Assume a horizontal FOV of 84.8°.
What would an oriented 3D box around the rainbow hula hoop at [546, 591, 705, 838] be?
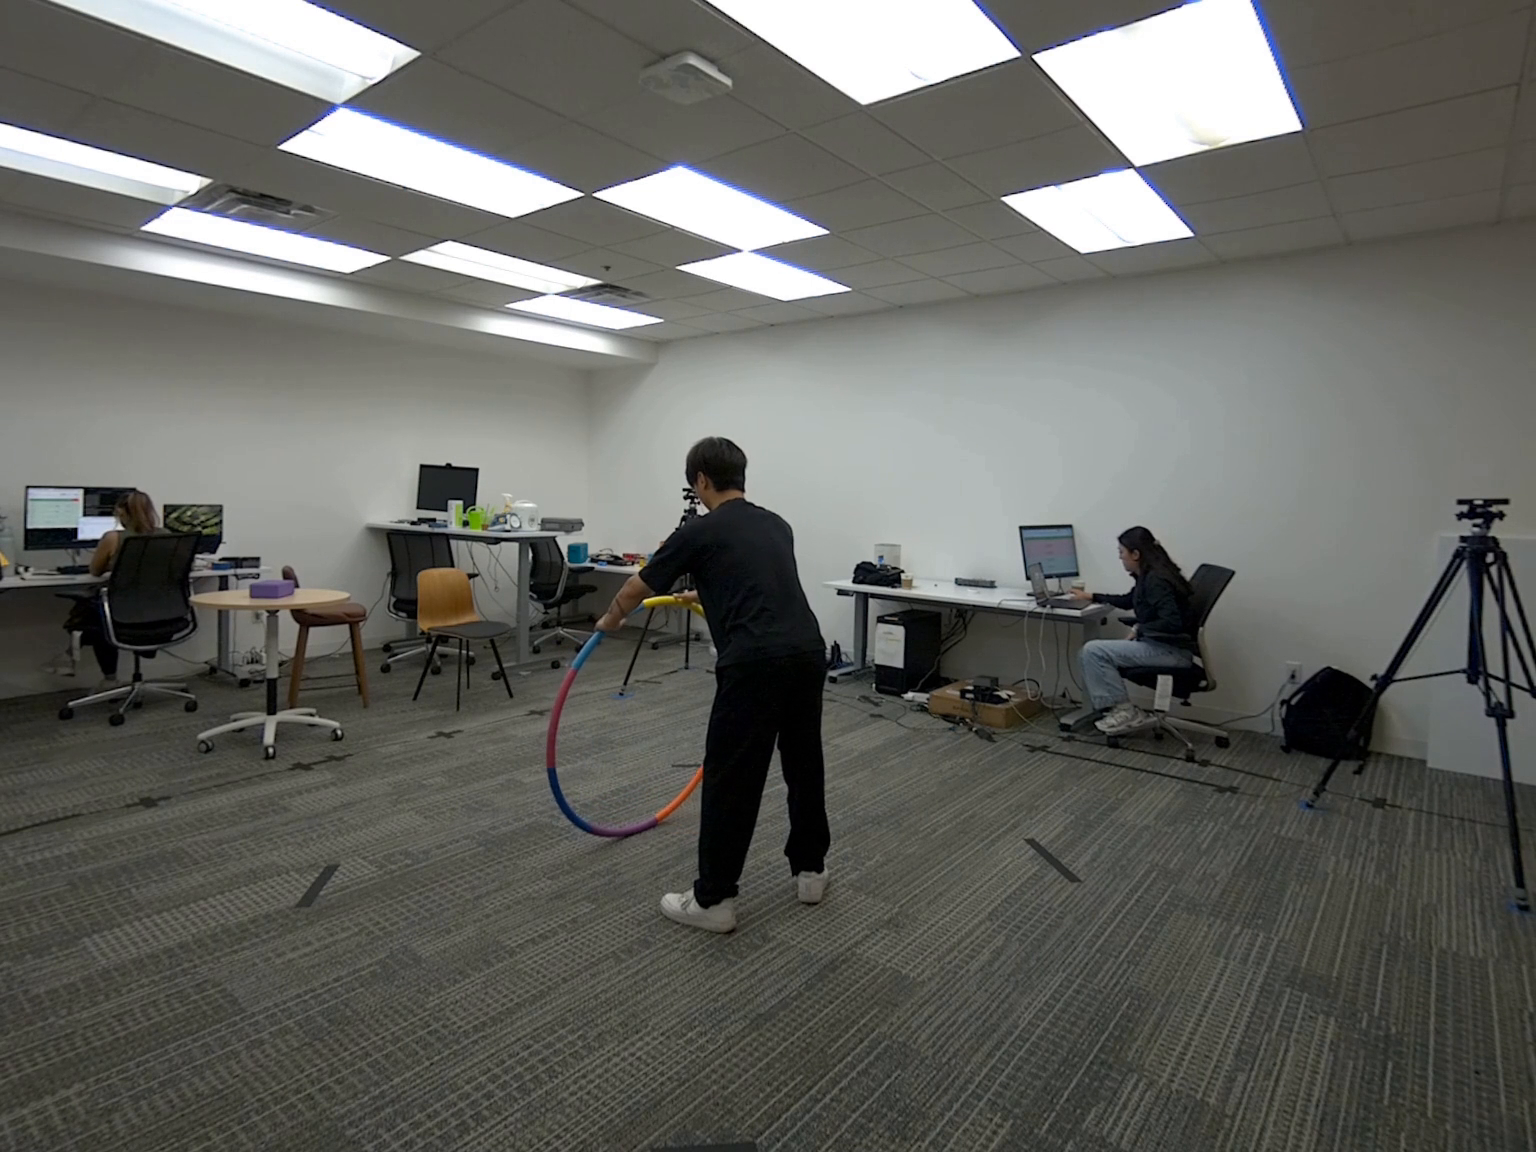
[{"bbox_3d":[-0.487,0.560,3.381,0.037,0.972,0.950,13,11,38],"label":"rainbow hula hoop"}]
